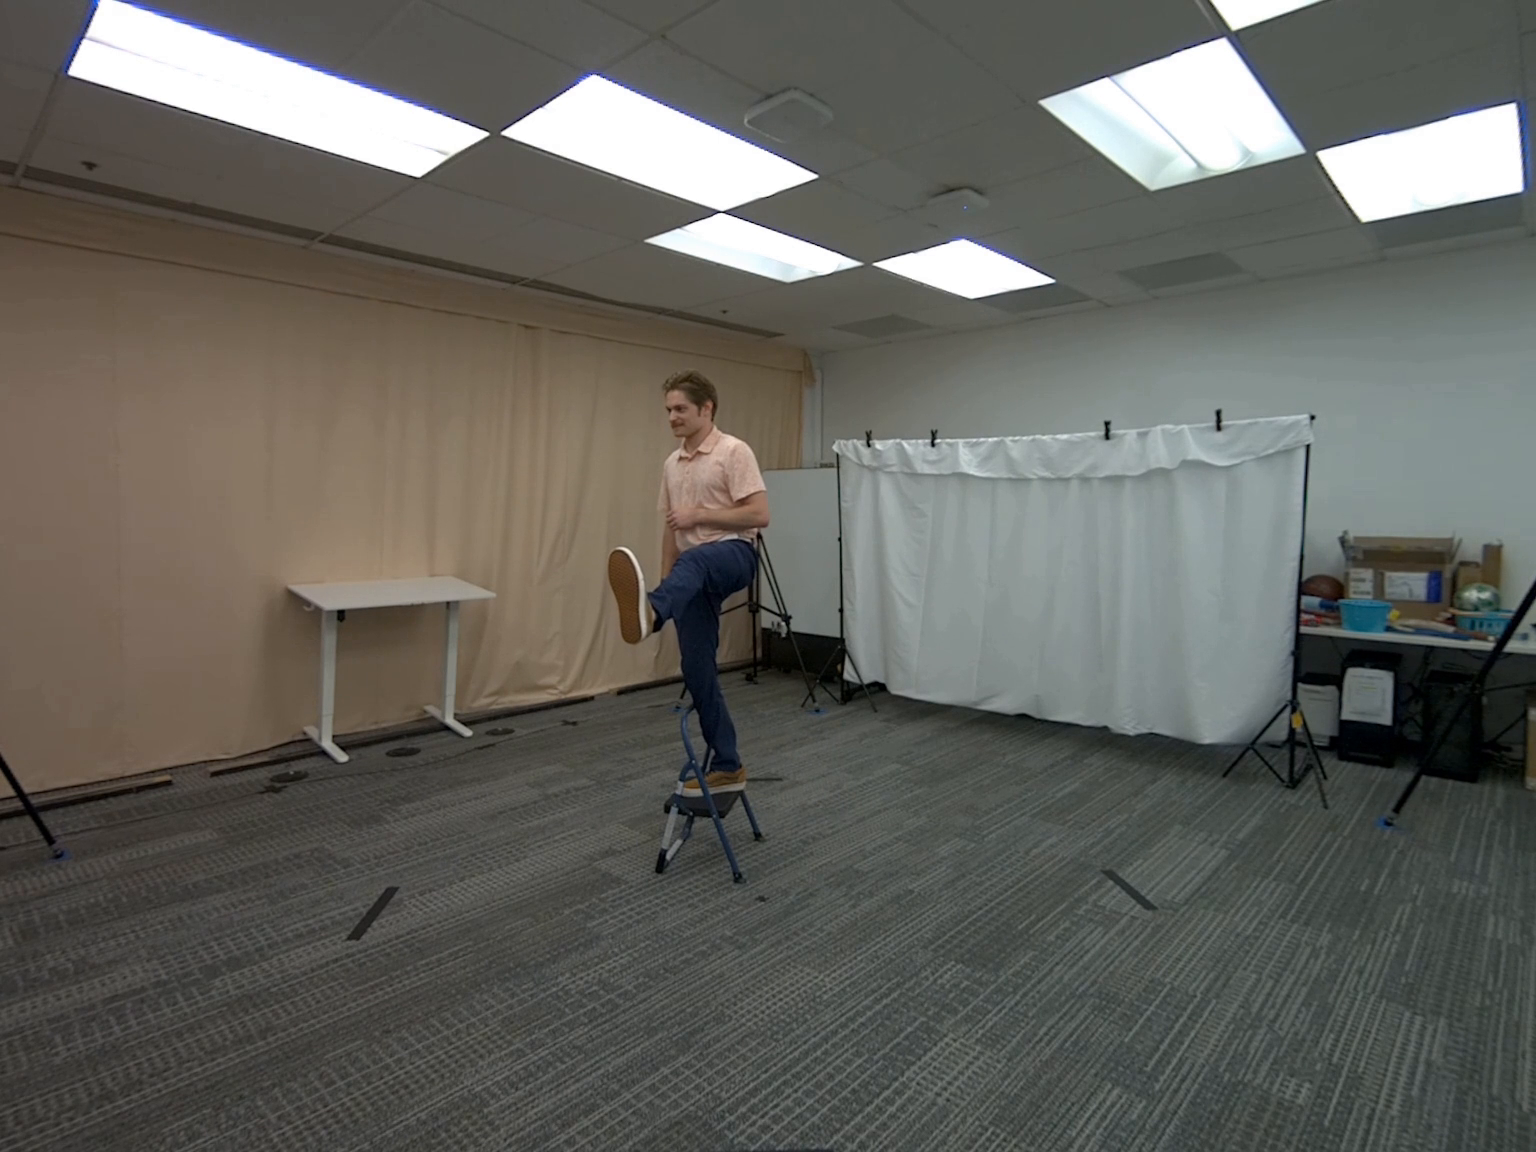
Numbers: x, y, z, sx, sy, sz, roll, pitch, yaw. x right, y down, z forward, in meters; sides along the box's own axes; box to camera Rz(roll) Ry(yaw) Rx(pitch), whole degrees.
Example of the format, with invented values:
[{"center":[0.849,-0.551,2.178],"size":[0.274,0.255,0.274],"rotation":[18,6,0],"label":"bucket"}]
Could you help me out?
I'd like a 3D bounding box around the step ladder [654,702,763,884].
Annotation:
[{"center":[-0.225,0.816,3.338],"size":[0.354,0.605,0.426],"rotation":[0,3,11],"label":"step ladder"}]
